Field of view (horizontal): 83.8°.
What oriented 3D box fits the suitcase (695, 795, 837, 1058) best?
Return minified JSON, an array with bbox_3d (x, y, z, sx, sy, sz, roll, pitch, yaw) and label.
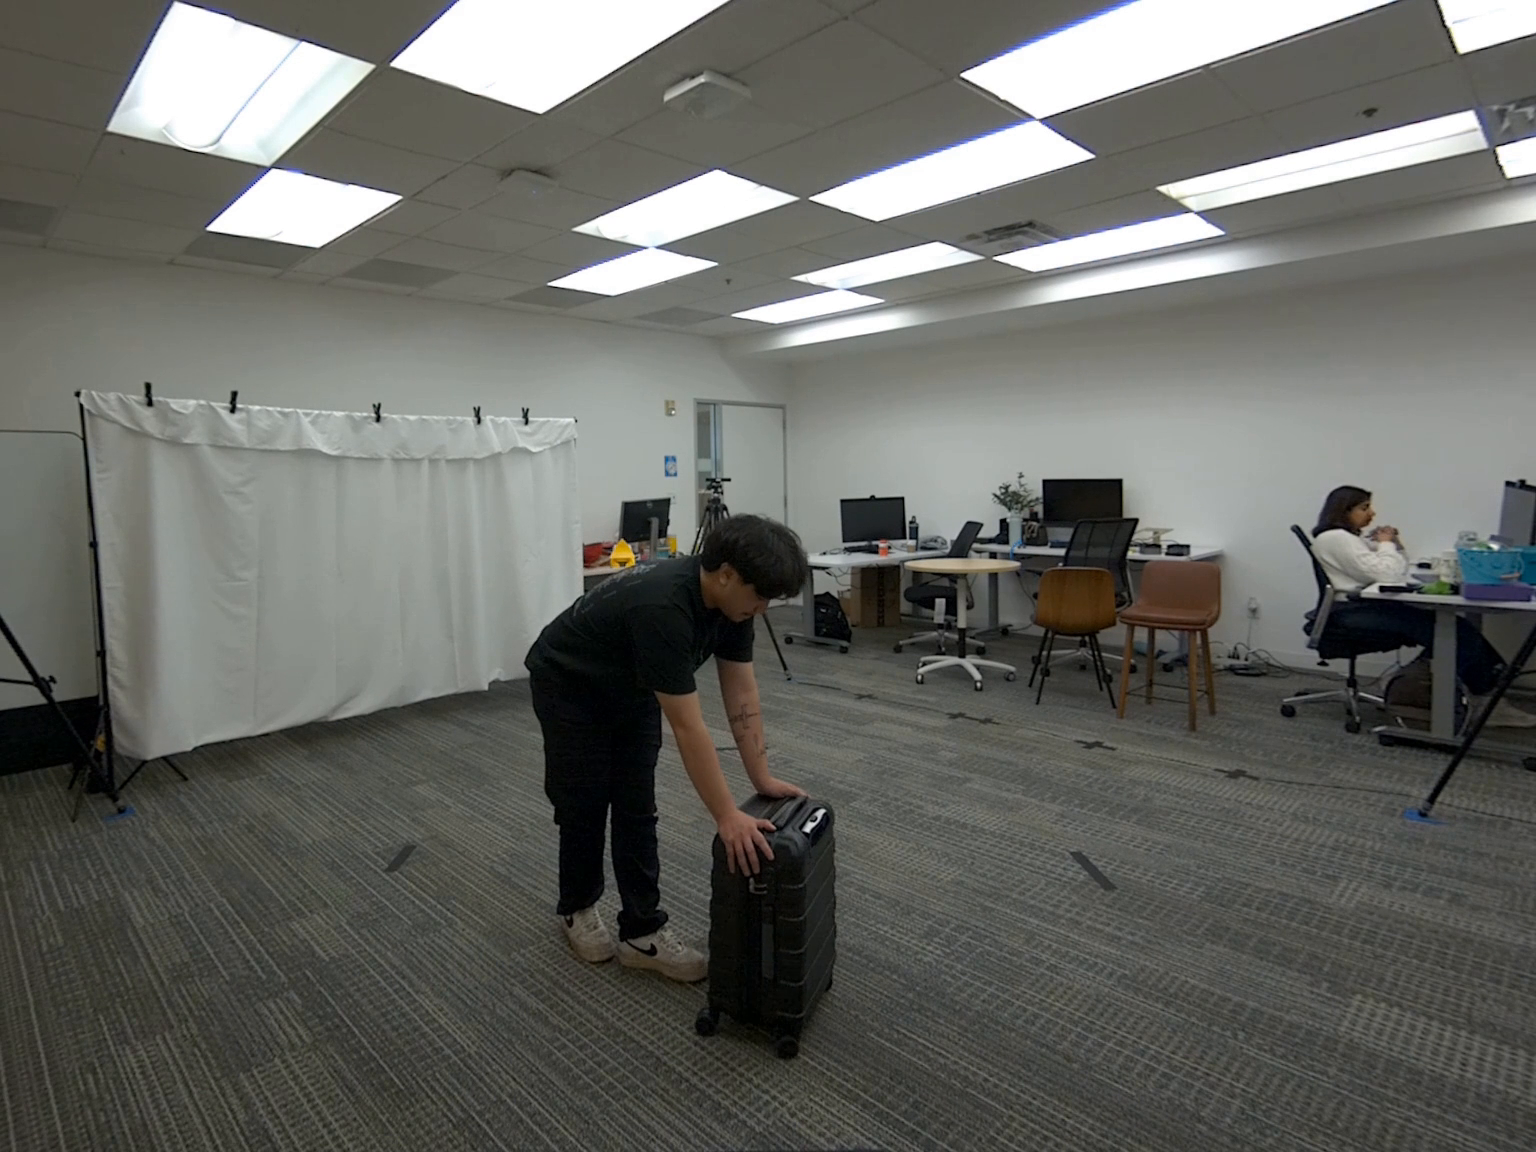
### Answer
[{"bbox_3d":[0.019,0.870,2.228,0.253,0.547,0.369,2,5,21],"label":"suitcase"}]
